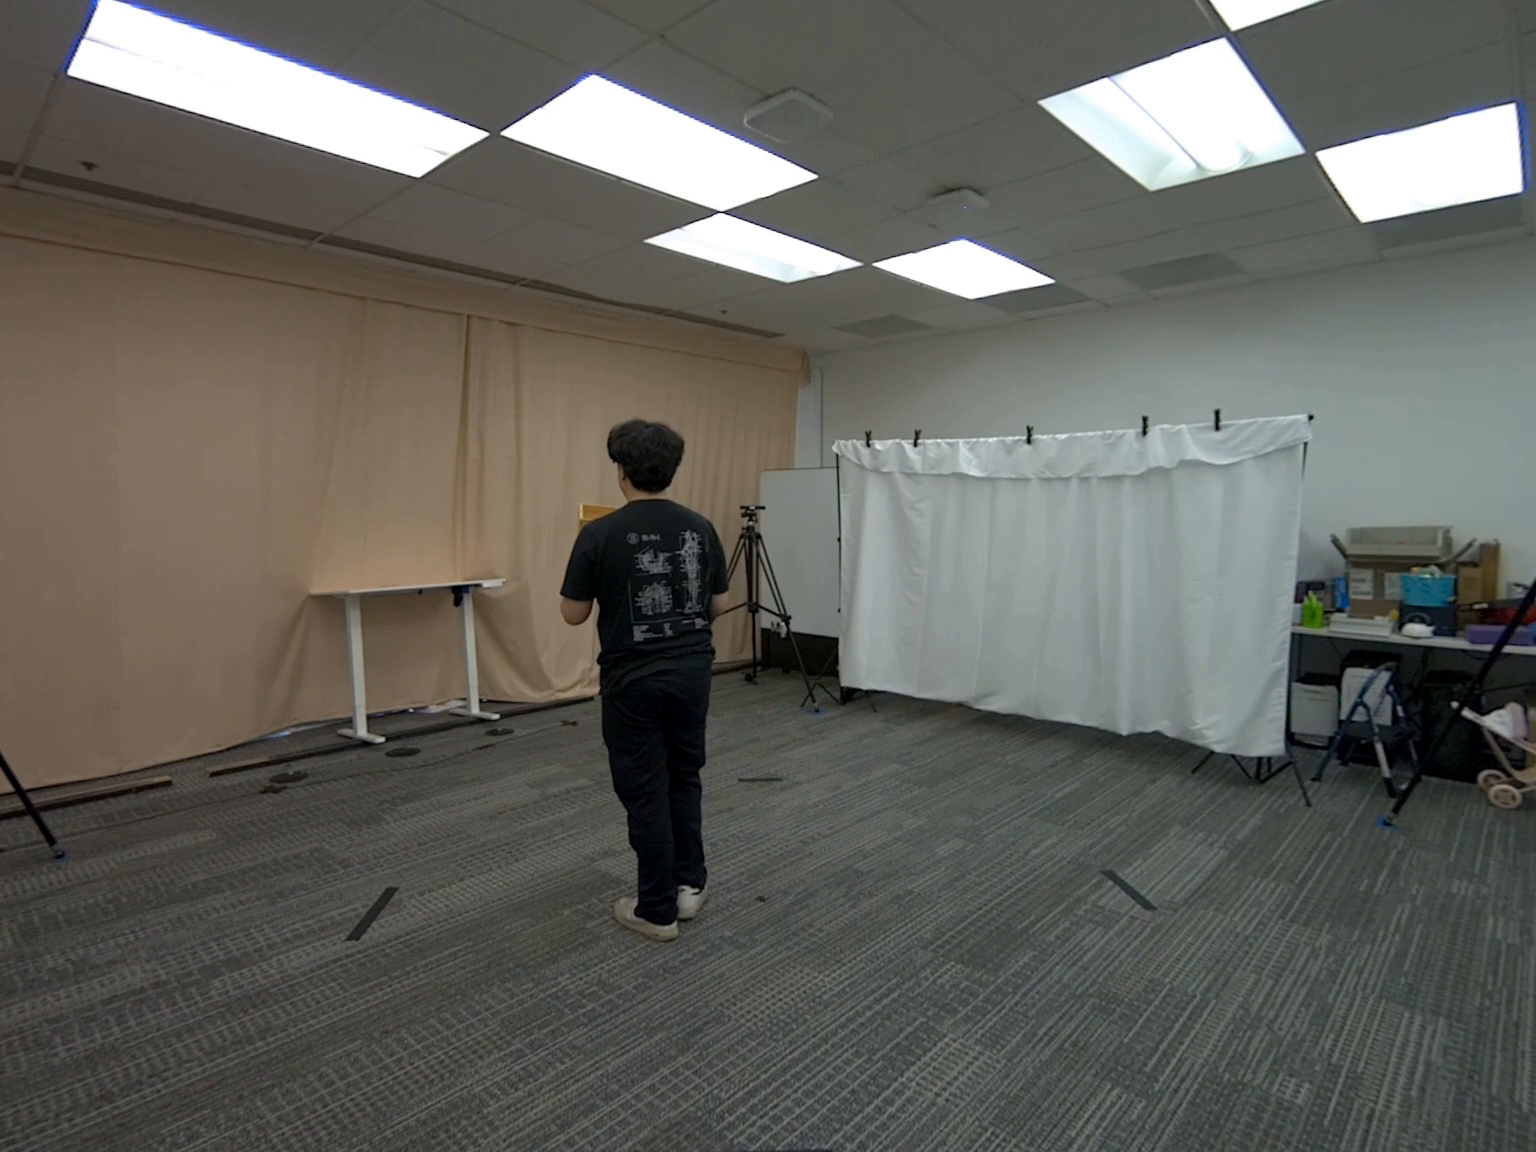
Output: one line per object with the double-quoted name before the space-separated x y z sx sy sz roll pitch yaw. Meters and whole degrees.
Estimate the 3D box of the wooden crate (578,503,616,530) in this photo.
"wooden crate" -0.525 -0.098 3.011 0.297 0.272 0.331 5 12 -14
